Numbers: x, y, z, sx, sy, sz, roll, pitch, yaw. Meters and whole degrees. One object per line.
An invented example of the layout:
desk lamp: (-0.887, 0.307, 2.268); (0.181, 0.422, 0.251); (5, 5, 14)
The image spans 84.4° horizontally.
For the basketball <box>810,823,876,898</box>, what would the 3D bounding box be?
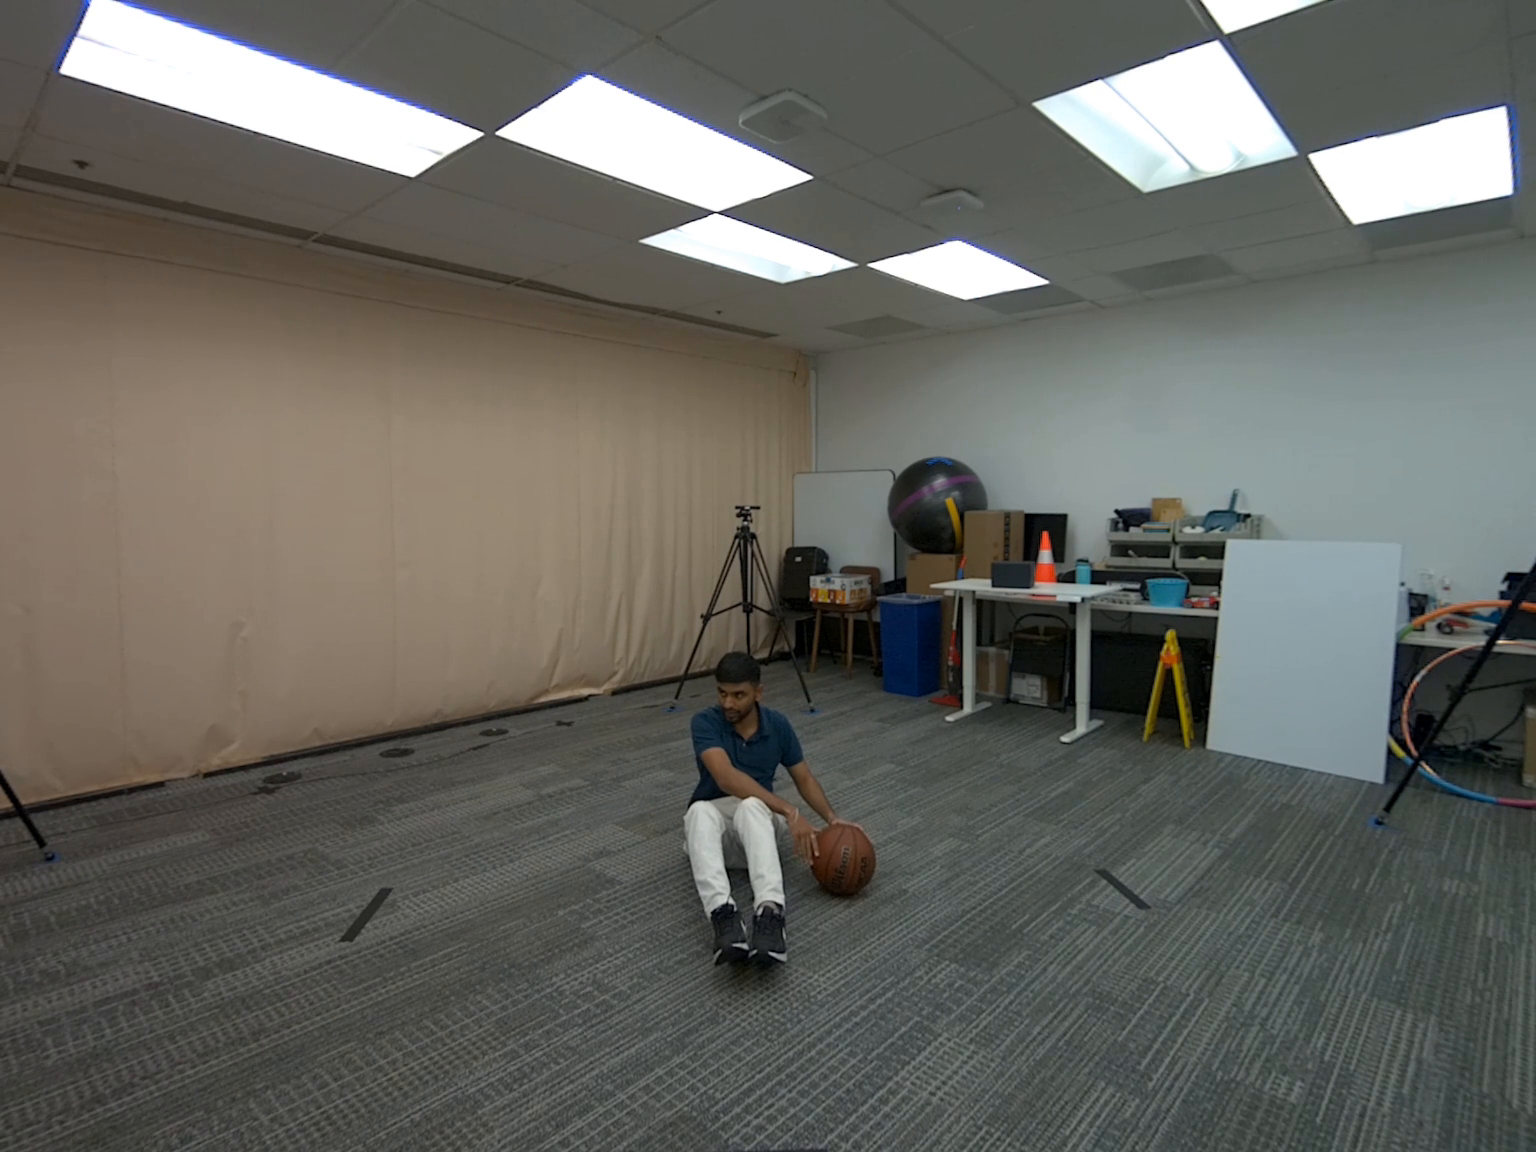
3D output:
basketball: (0.273, 1.015, 3.032); (0.236, 0.235, 0.237); (0, 4, -2)
